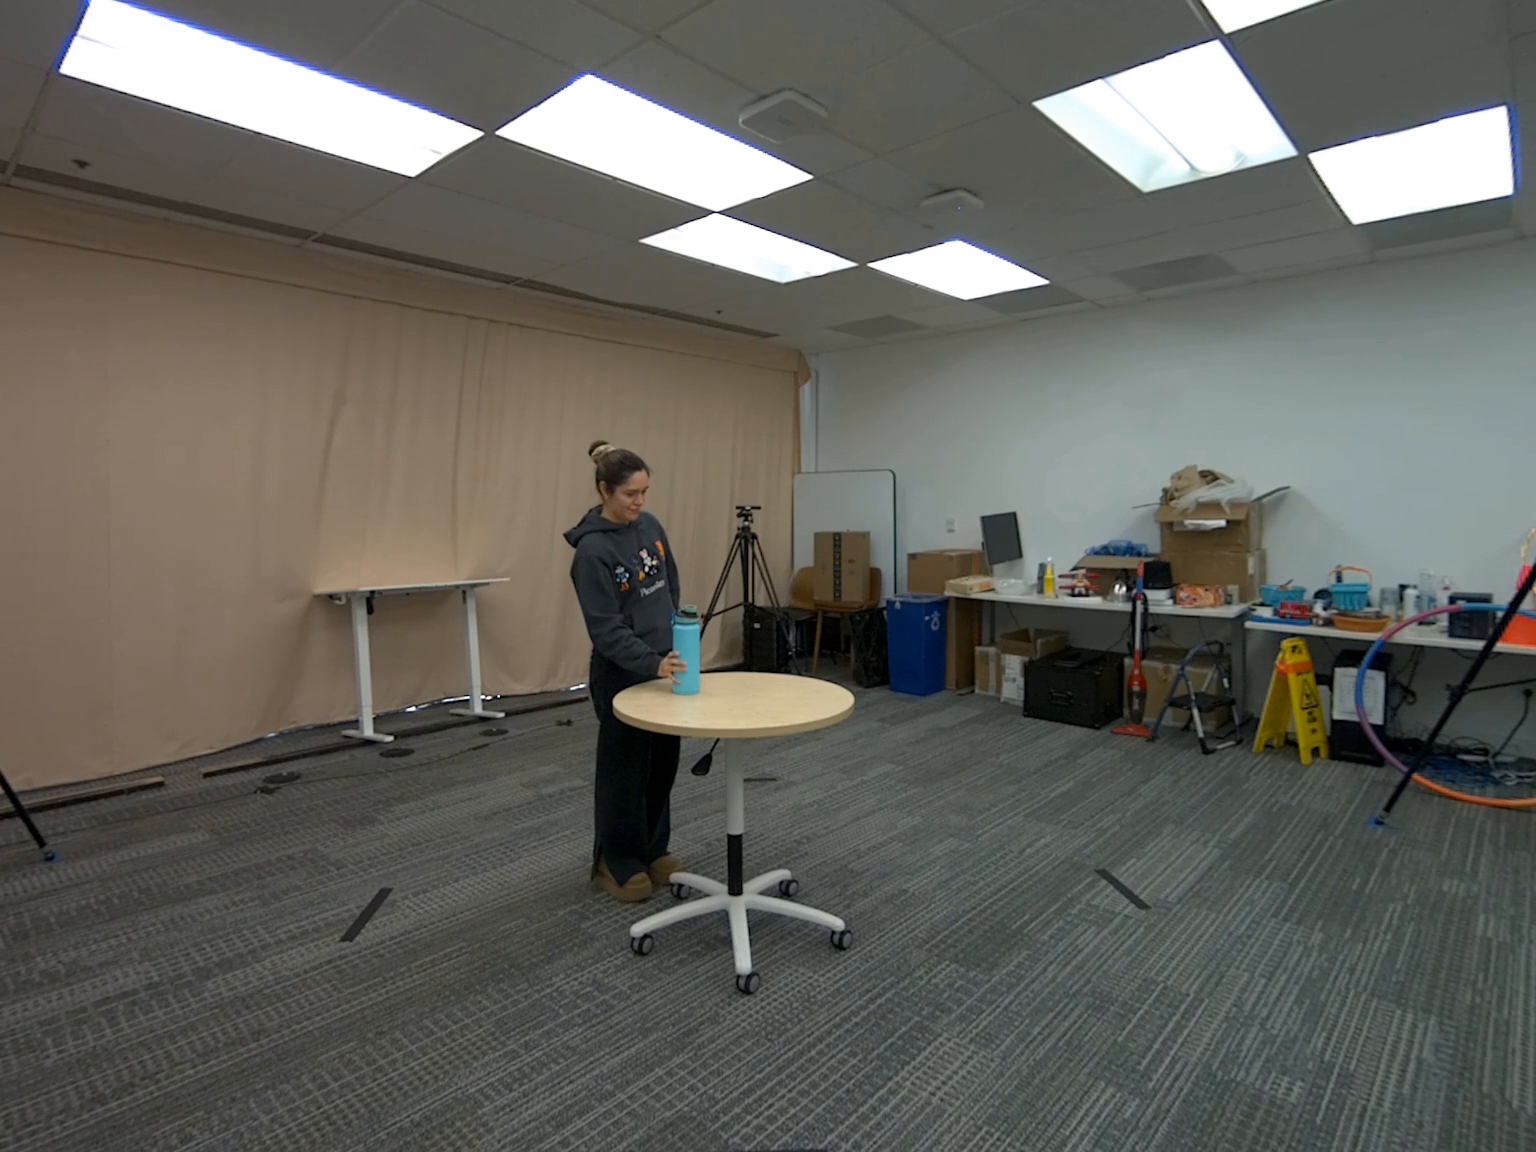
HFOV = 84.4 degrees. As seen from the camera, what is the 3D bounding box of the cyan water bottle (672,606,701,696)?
[{"bbox_3d":[-0.255,0.241,2.752,0.092,0.282,0.093,-4,5,-1],"label":"cyan water bottle"}]
